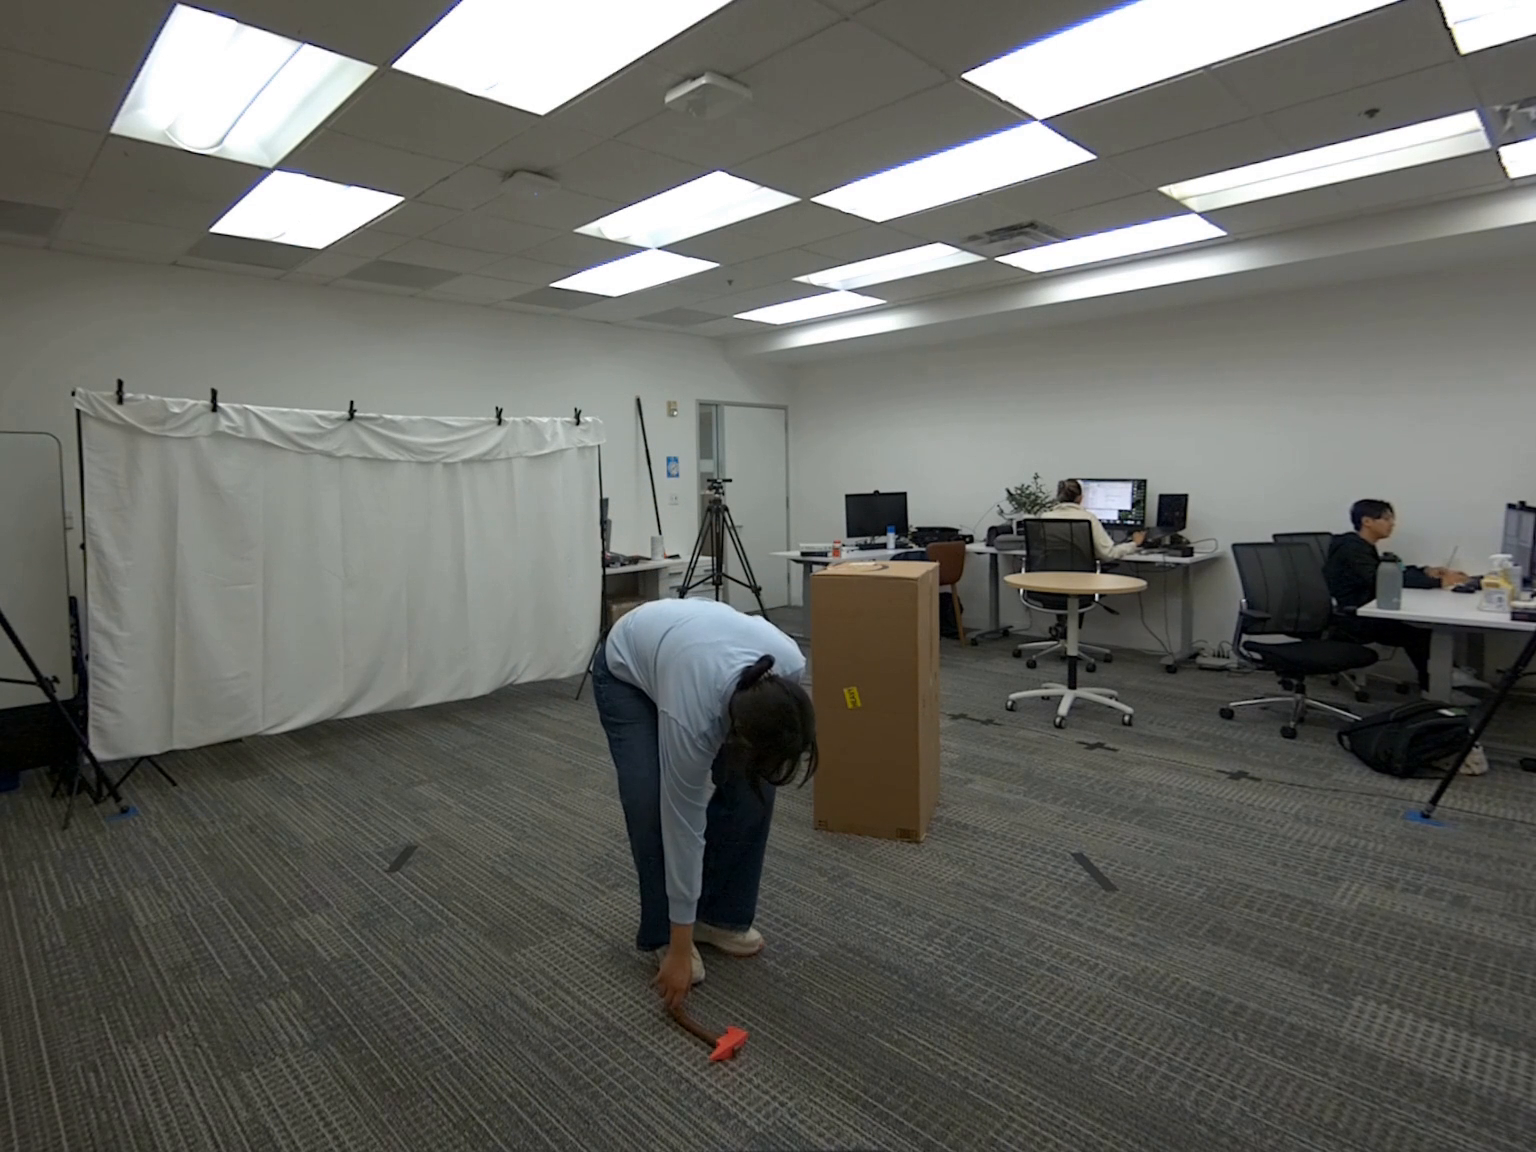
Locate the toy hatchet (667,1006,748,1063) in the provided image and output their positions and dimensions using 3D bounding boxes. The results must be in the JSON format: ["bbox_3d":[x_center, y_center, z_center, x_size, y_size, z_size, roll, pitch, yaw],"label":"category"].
[{"bbox_3d":[-0.144,1.151,2.178,0.128,0.029,0.277,-6,7,-29],"label":"toy hatchet"}]
